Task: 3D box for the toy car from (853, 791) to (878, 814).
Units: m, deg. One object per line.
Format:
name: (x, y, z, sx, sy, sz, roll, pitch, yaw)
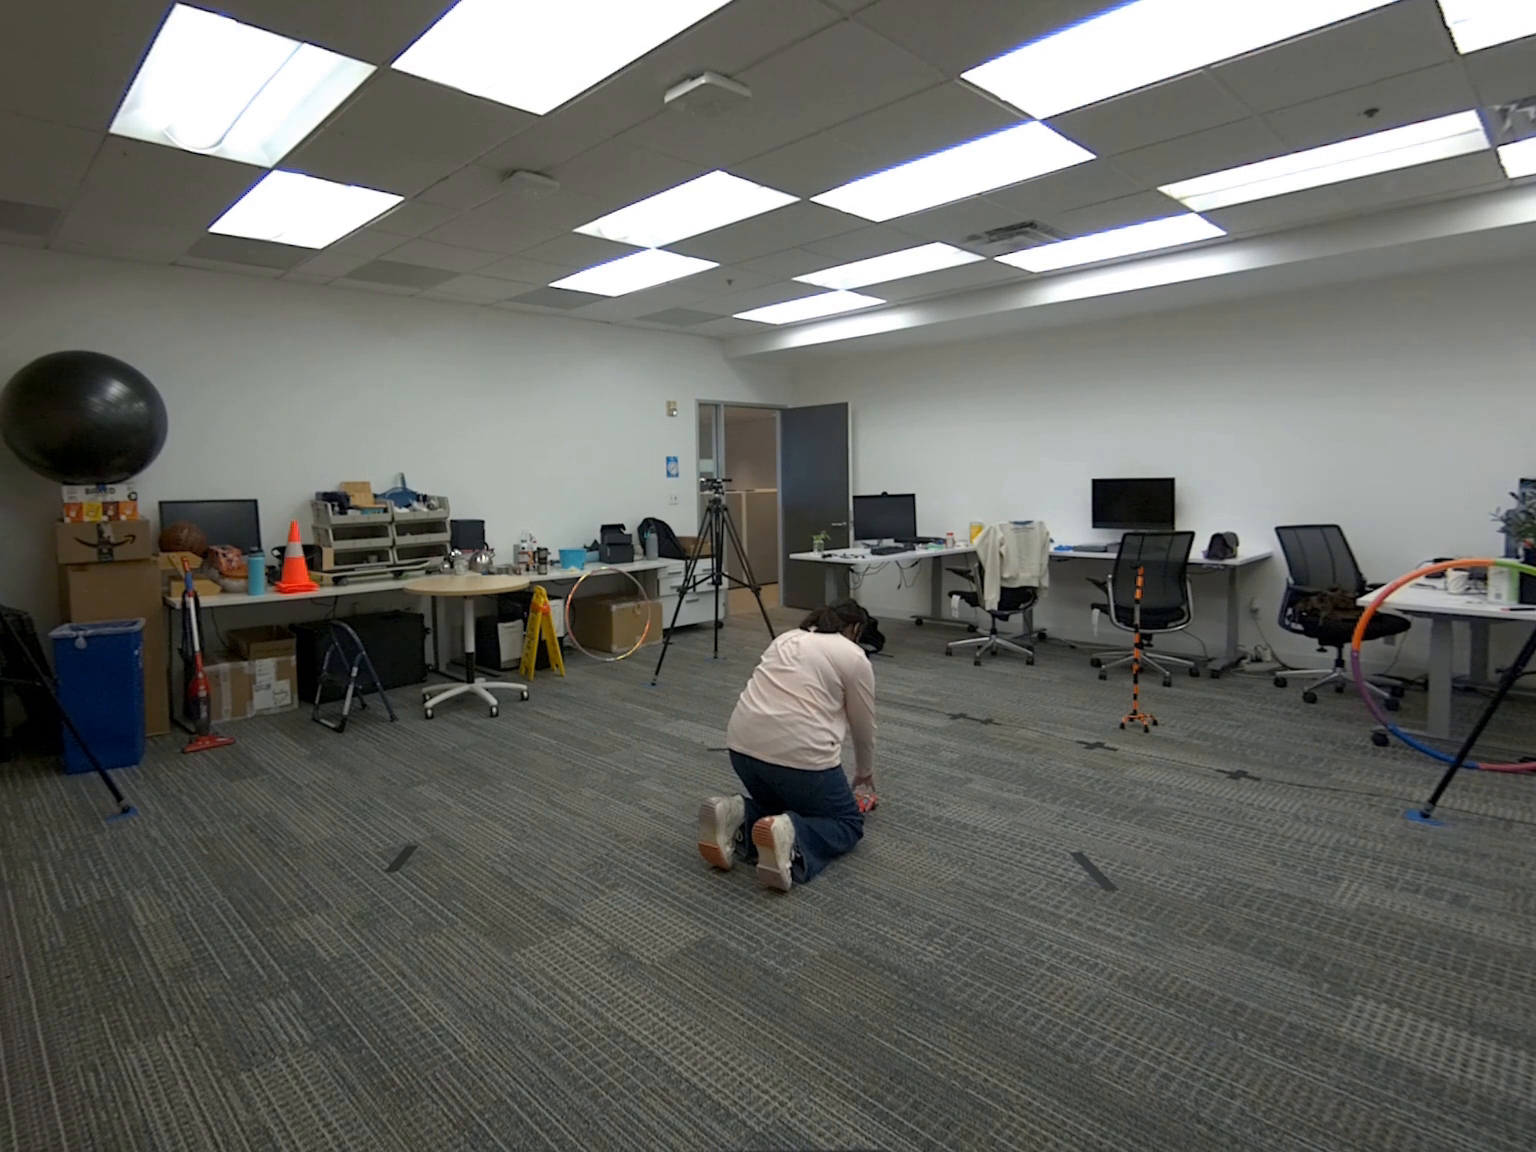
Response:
toy car: (0.369, 0.959, 3.543, 0.133, 0.083, 0.247, 4, -3, 26)
